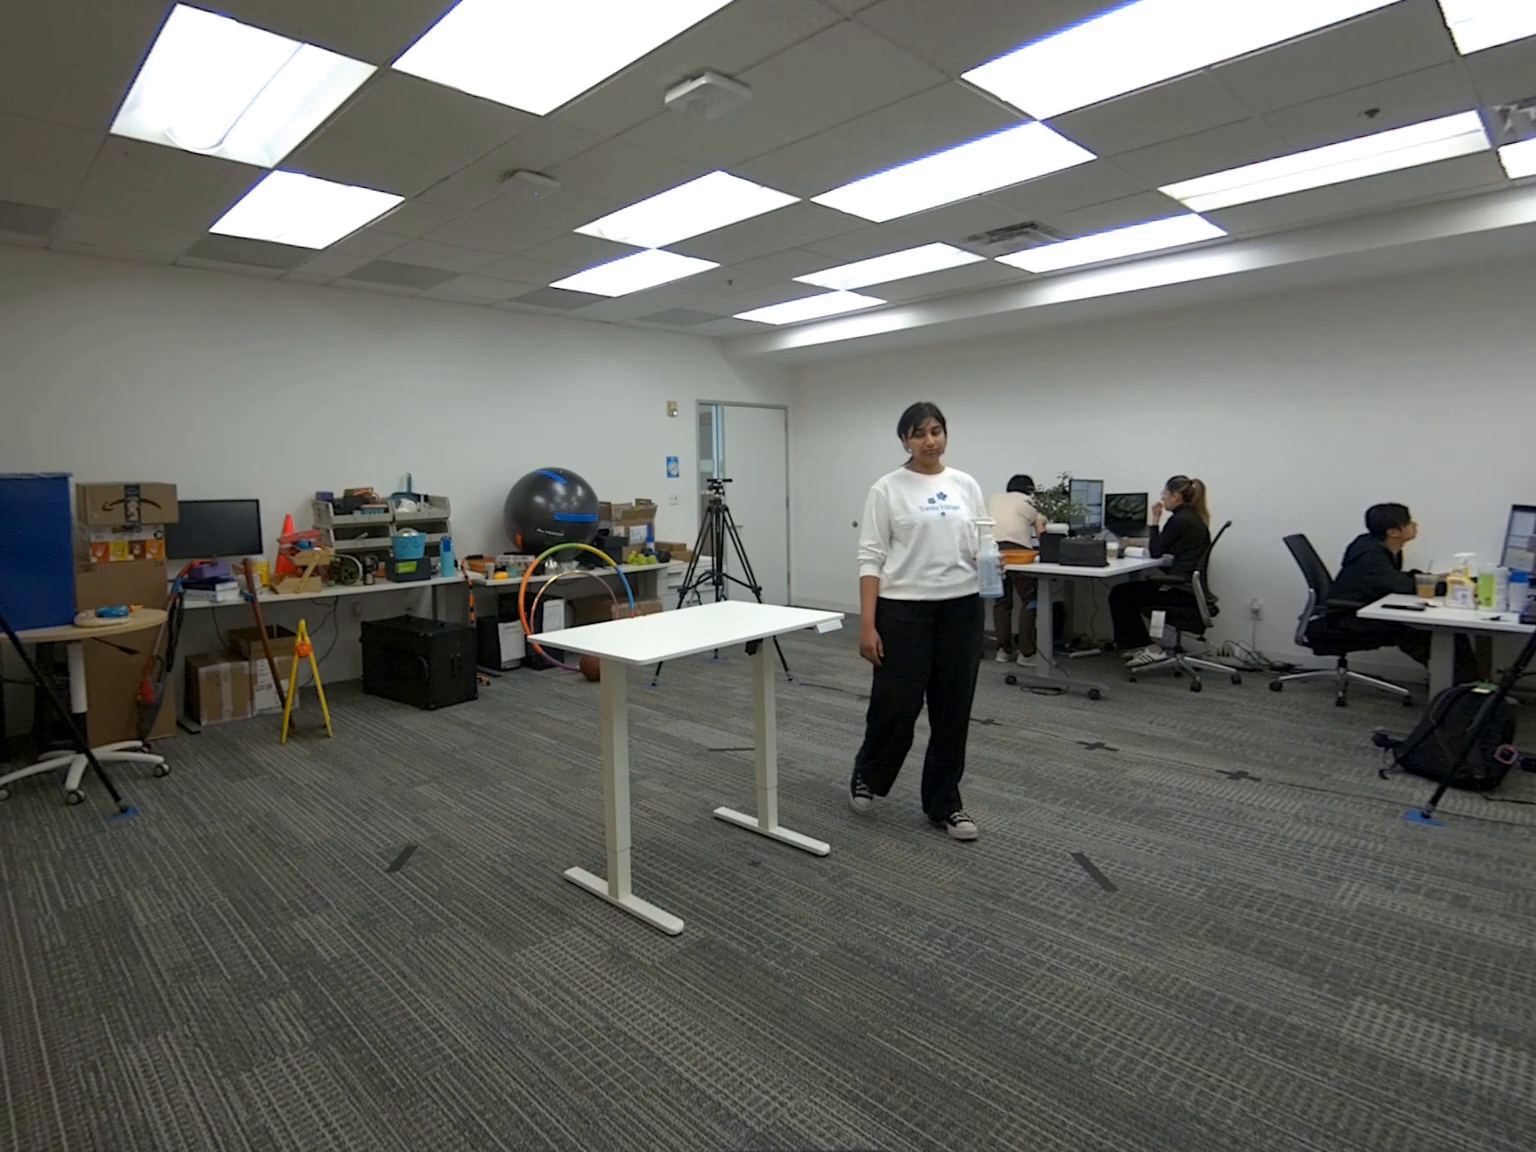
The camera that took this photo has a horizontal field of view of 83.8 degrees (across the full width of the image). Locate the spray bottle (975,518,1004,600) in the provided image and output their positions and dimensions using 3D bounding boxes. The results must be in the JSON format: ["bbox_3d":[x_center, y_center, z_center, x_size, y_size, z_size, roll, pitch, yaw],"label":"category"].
[{"bbox_3d":[0.814,-0.068,3.178,0.092,0.298,0.084,-5,-2,40],"label":"spray bottle"}]
